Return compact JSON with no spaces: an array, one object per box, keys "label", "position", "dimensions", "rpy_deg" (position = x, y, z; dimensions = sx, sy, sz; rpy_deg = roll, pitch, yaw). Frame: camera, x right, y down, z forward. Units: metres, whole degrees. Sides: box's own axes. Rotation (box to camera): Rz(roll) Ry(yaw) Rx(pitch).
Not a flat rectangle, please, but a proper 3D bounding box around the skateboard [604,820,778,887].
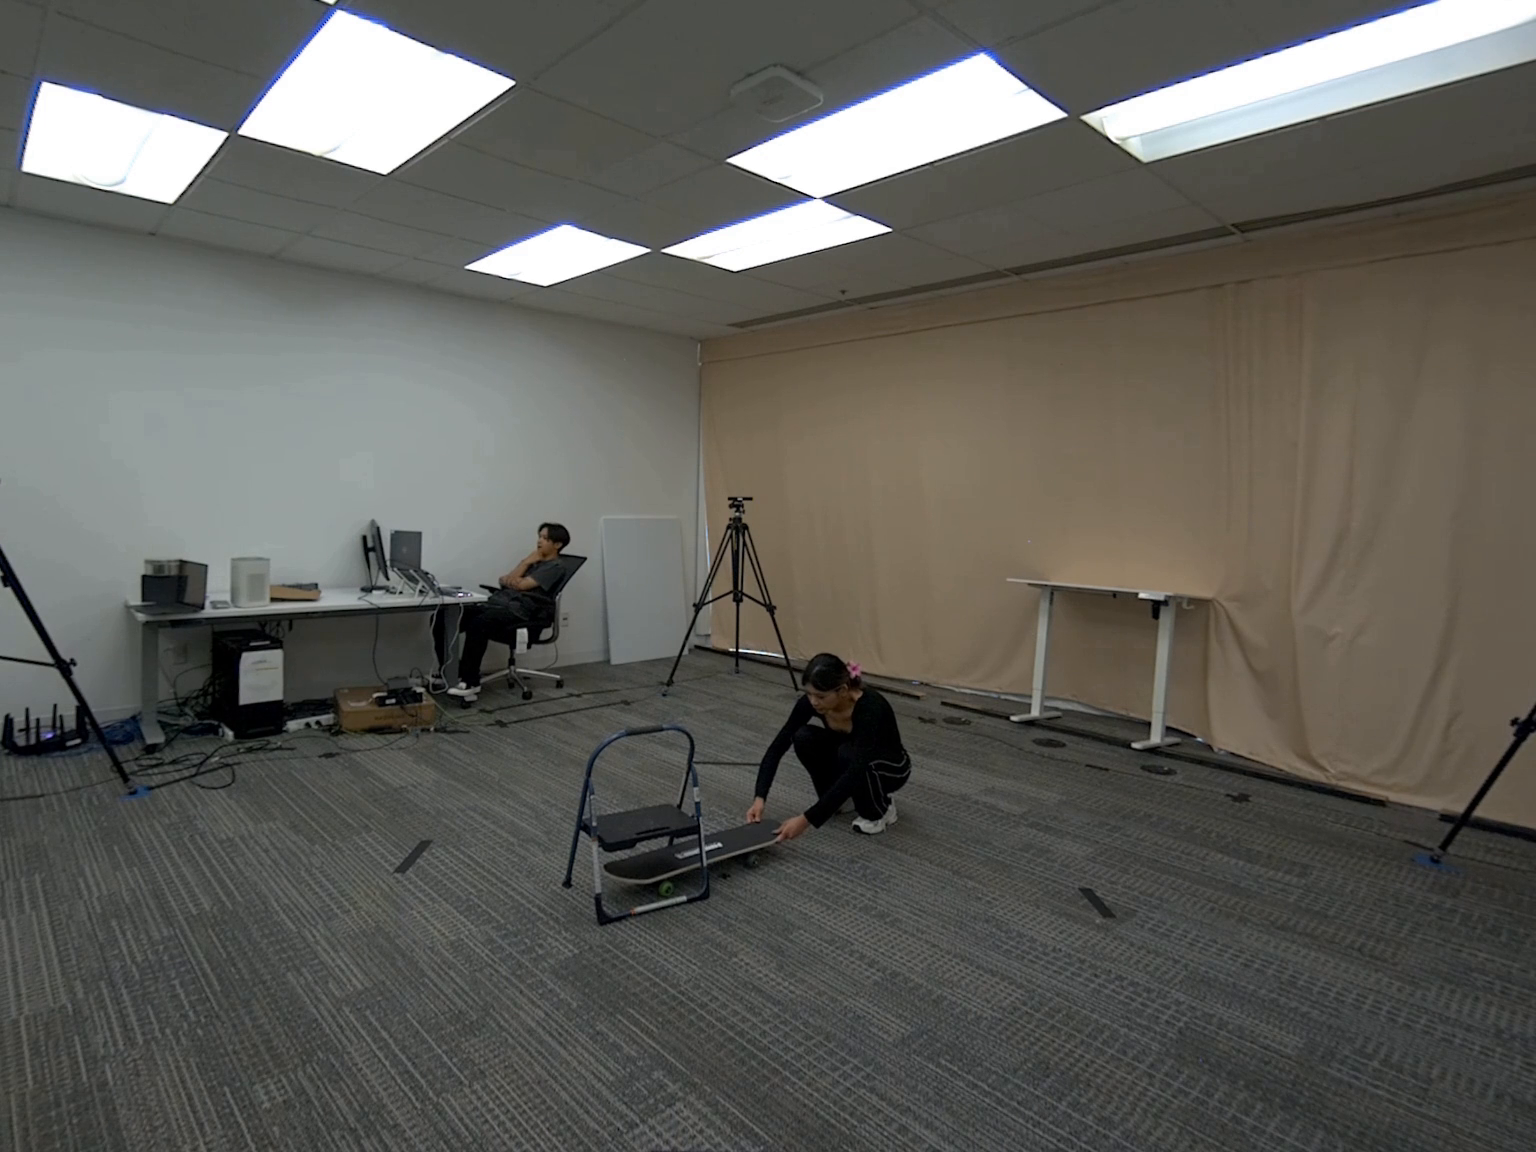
[{"label":"skateboard","position":[-0.258,1.044,3.113],"dimensions":[0.768,0.110,0.198],"rpy_deg":[-3,7,-39]}]
